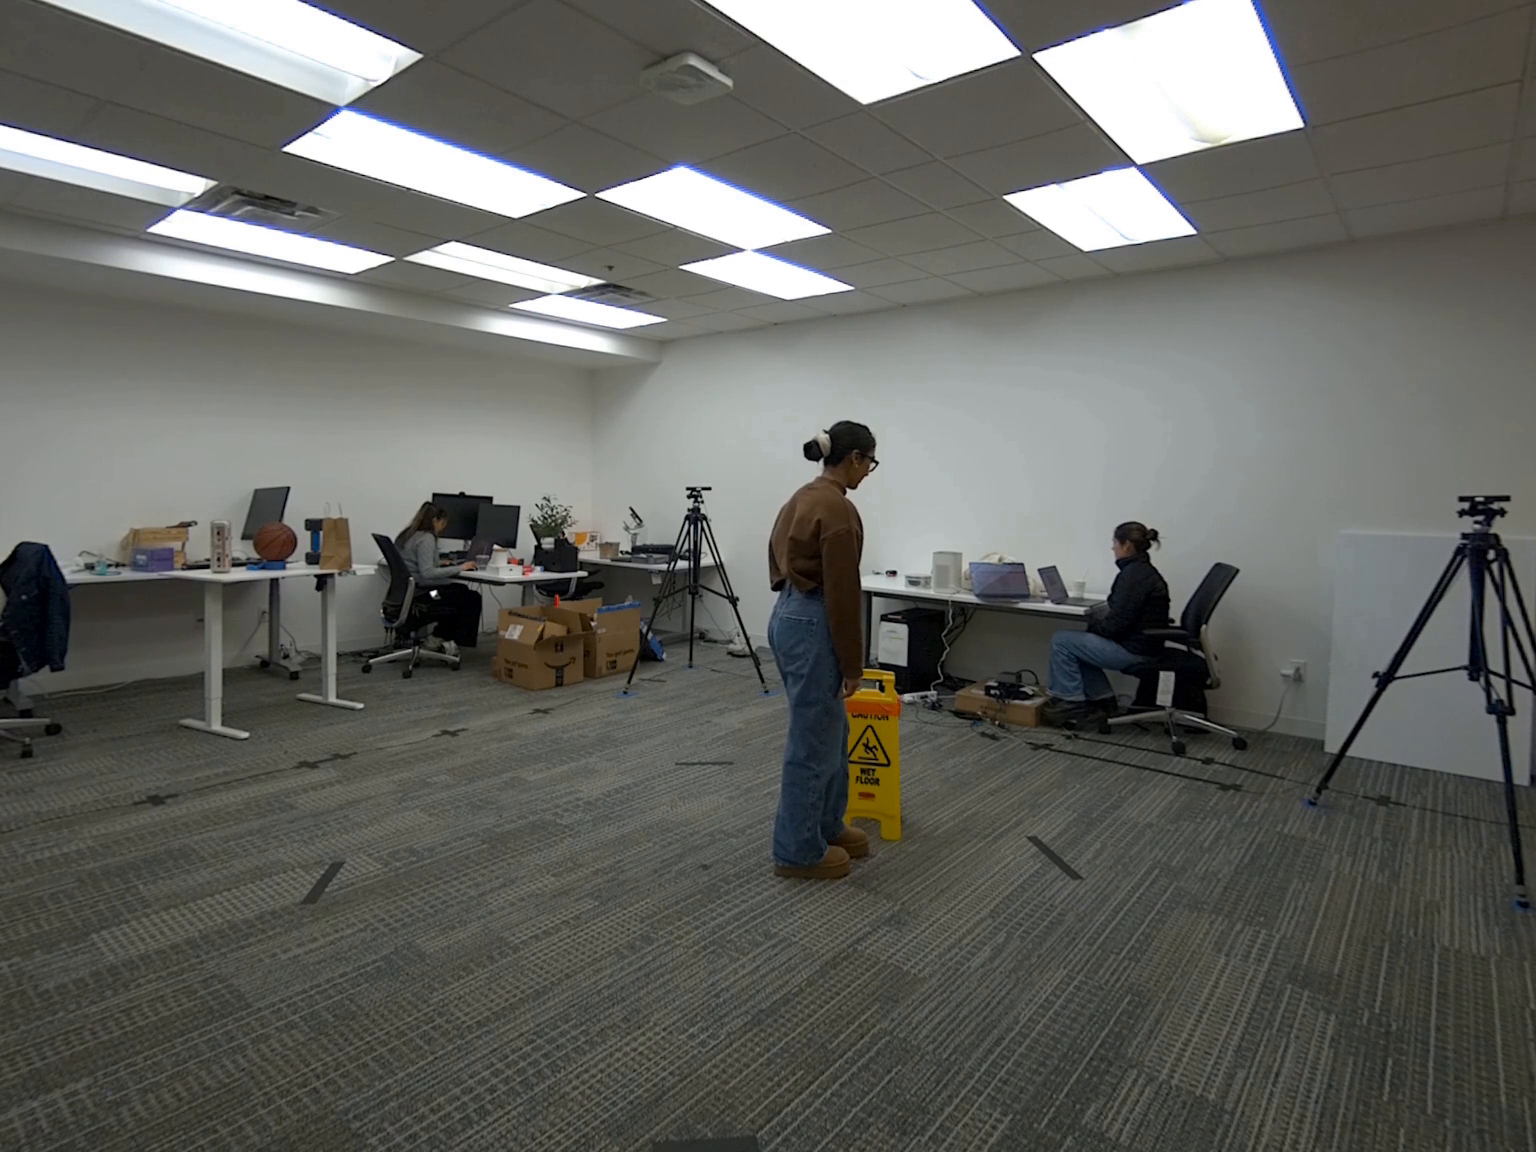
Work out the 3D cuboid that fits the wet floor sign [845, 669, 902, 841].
[{"bbox_3d":[0.411,0.709,3.541,0.285,0.644,0.287,3,4,9],"label":"wet floor sign"}]
